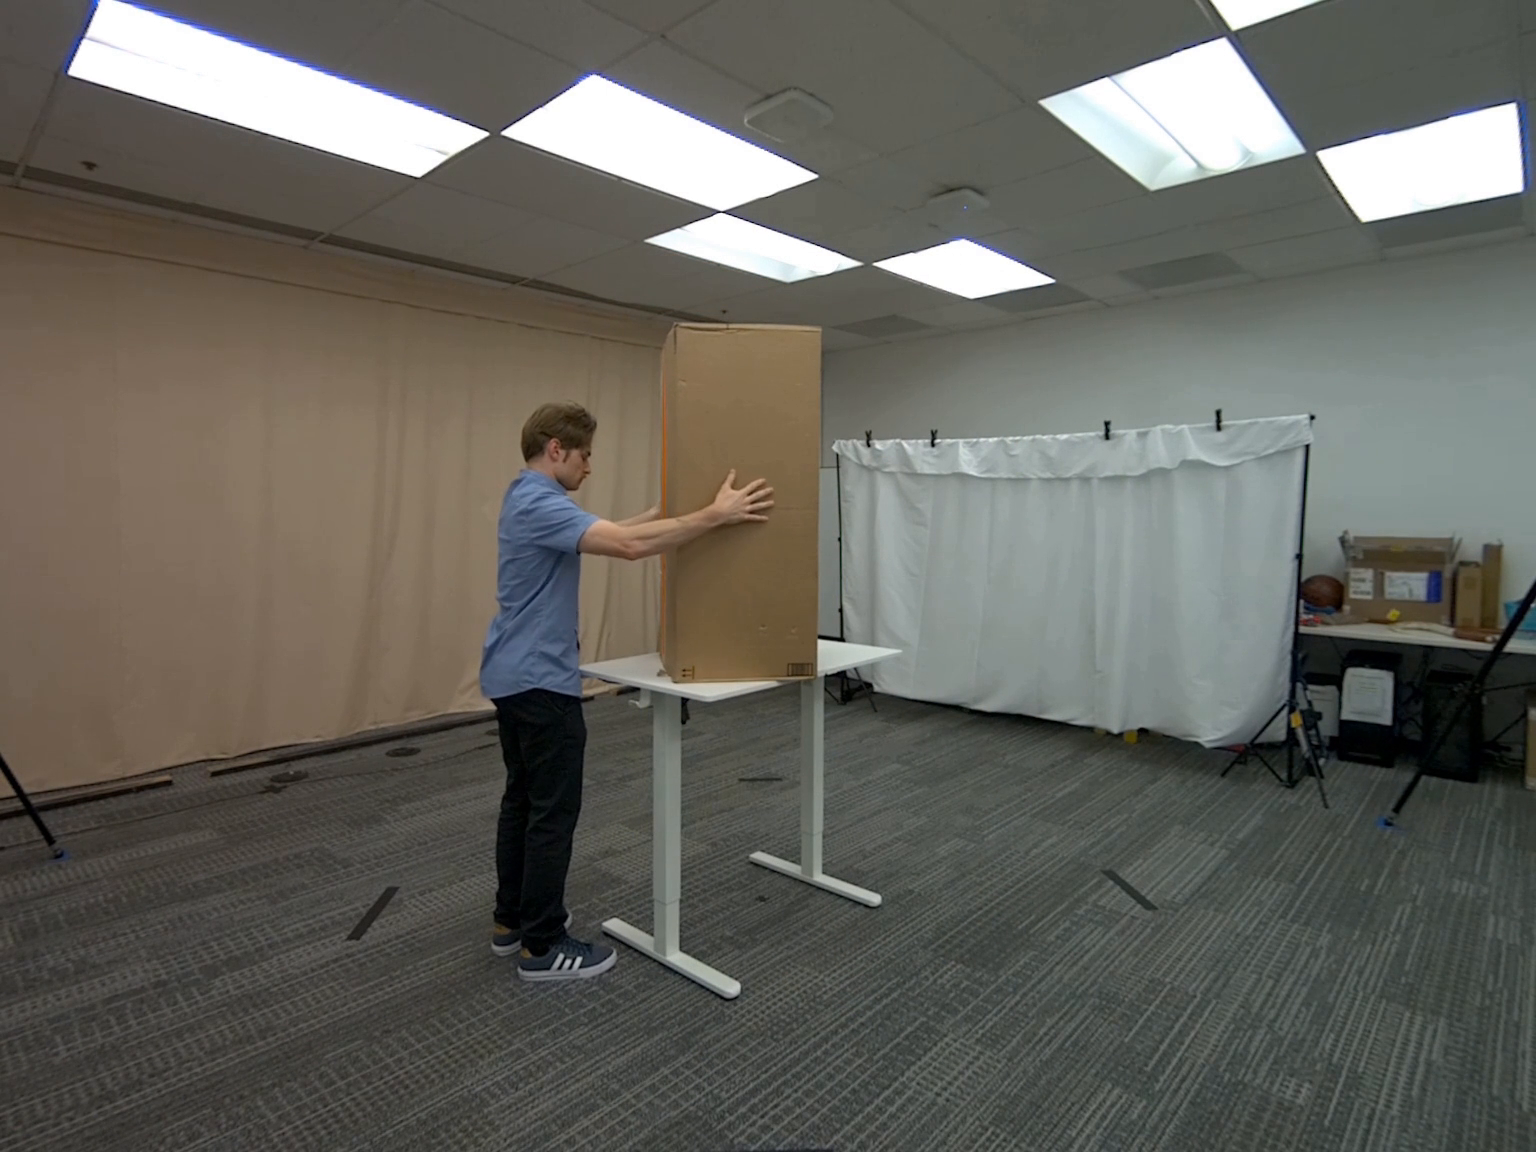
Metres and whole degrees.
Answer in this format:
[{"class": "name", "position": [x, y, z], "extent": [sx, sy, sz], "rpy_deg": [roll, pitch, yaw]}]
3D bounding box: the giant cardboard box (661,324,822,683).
[{"class": "giant cardboard box", "position": [-0.112, -0.222, 2.680], "extent": [0.422, 1.023, 0.584], "rpy_deg": [0, 4, -10]}]
